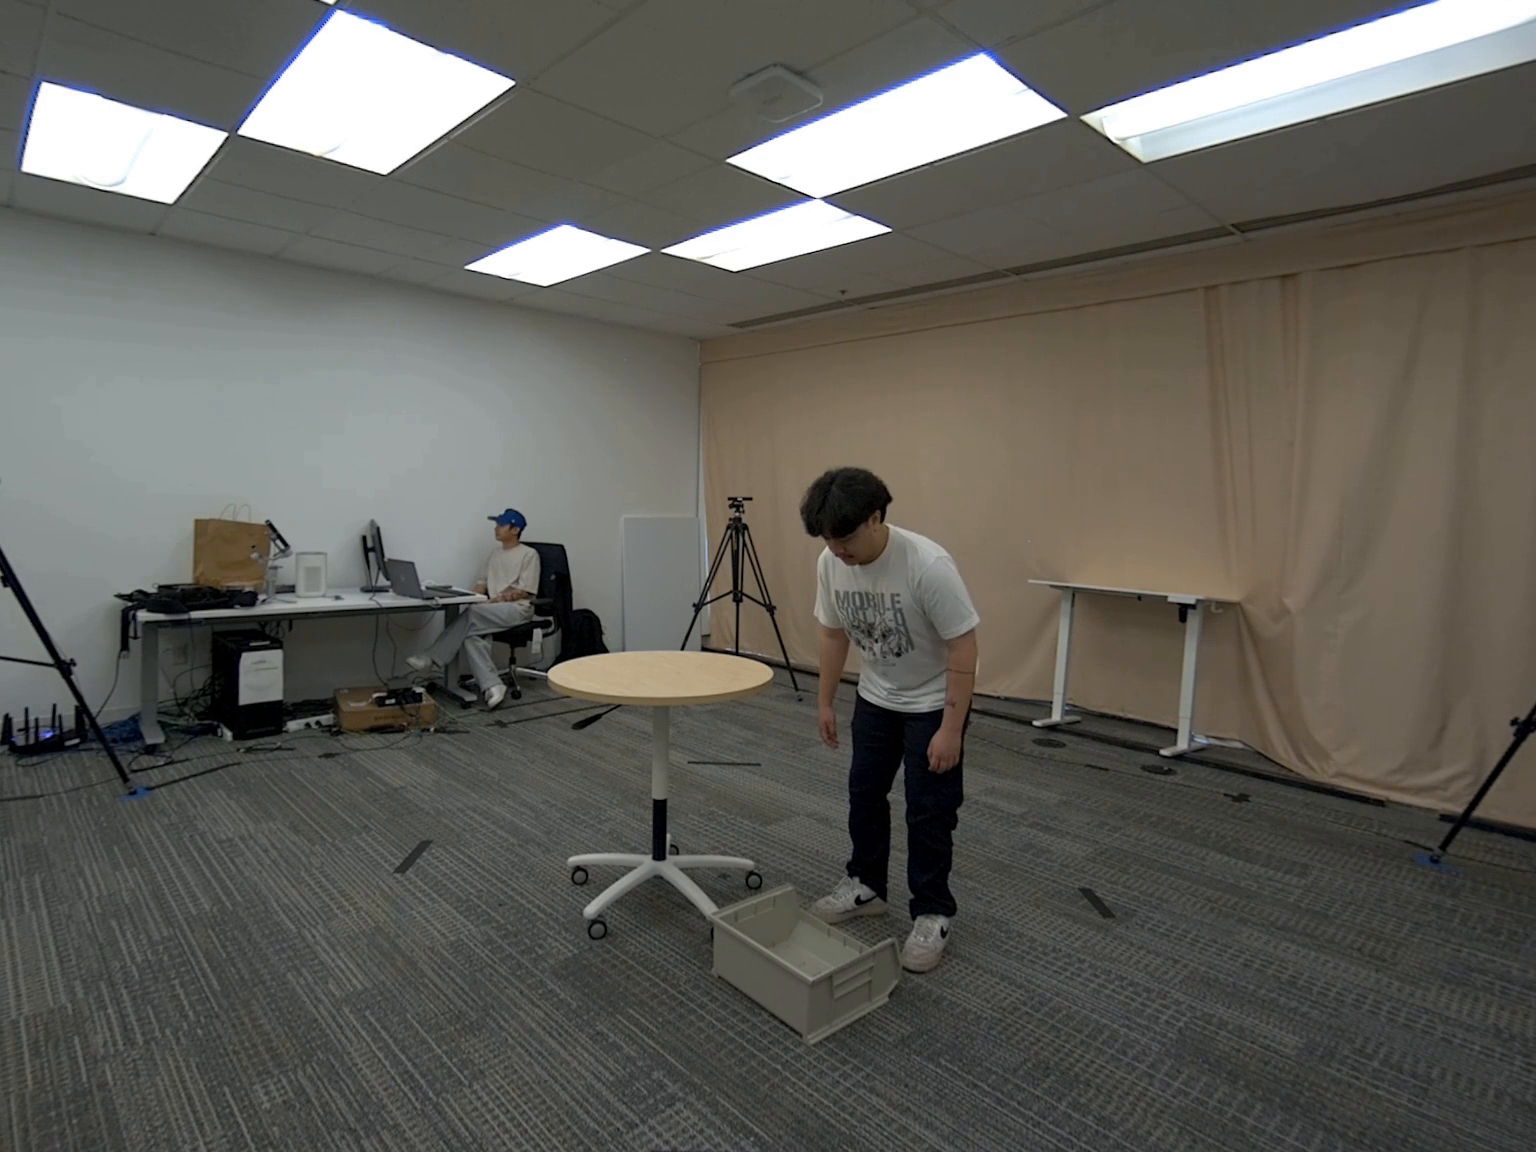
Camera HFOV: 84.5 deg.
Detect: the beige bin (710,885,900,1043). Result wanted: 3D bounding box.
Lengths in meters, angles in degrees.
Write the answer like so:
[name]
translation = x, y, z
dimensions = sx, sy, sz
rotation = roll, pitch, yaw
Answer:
[beige bin]
translation = 0.097, 1.088, 2.413
dimensions = 0.369, 0.188, 0.433
rotation = -4, 8, -42
